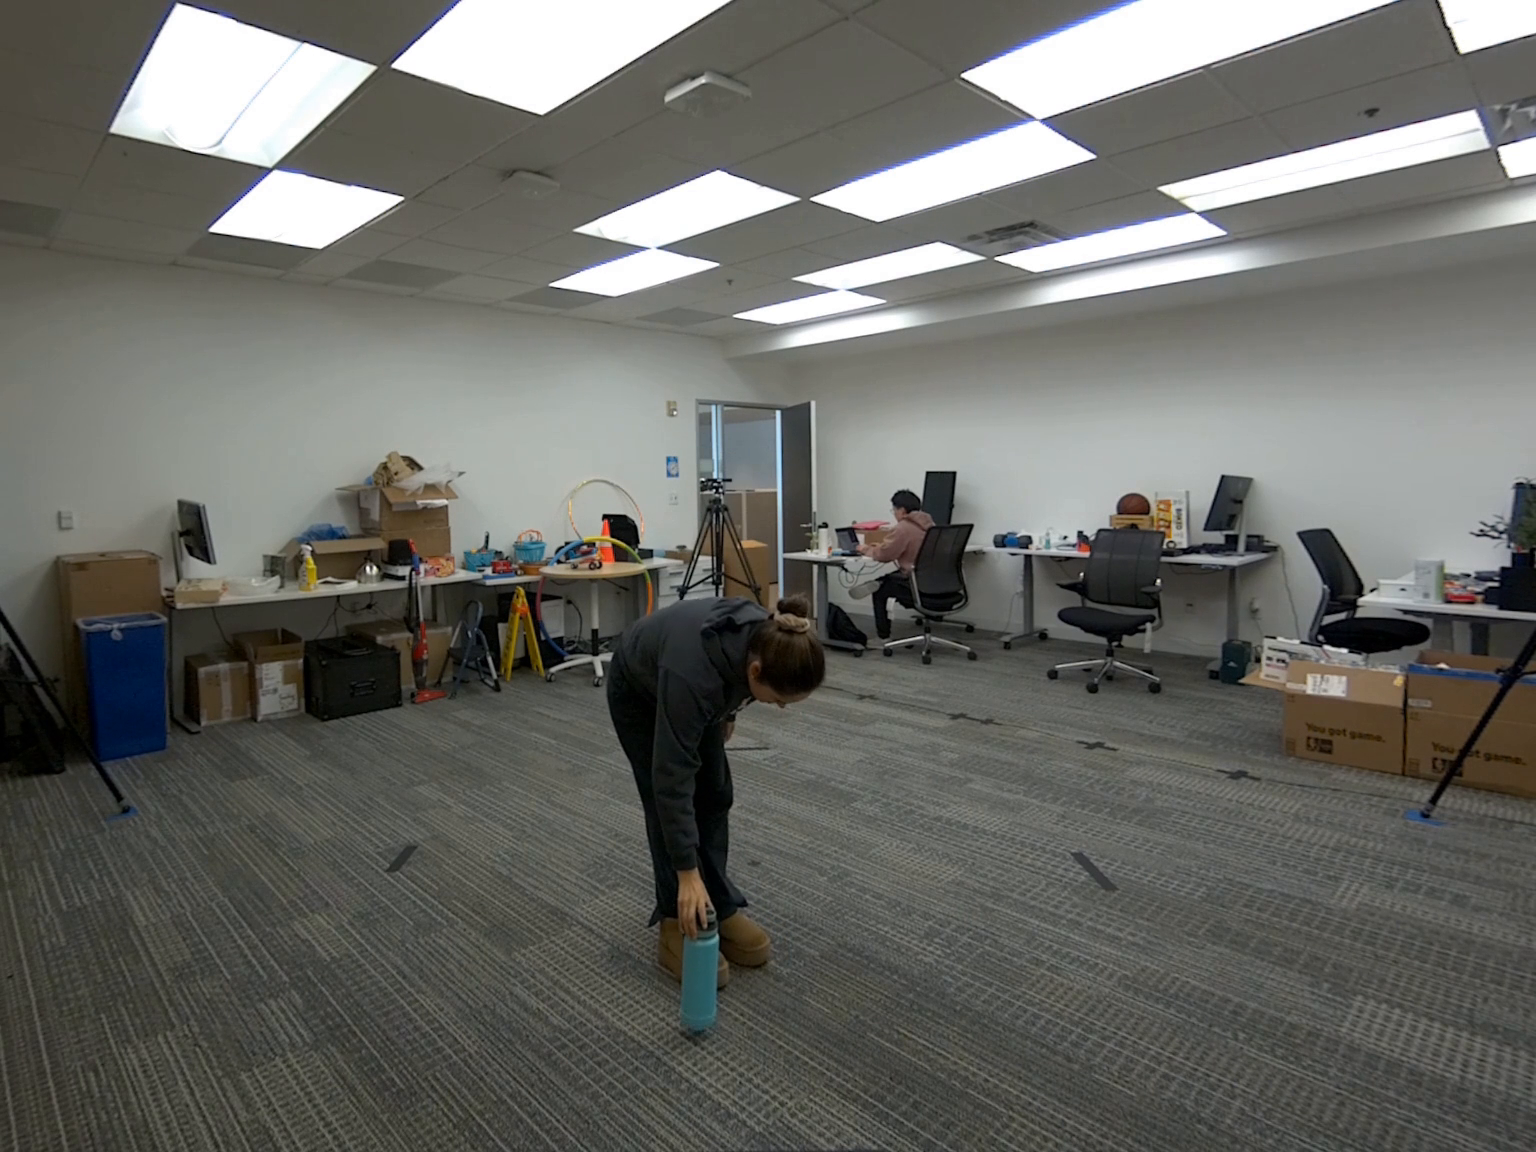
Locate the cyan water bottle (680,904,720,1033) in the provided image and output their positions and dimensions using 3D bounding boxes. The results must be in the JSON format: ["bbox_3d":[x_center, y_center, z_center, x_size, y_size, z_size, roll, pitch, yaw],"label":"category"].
[{"bbox_3d":[-0.171,0.982,2.139,0.092,0.283,0.092,1,2,-2],"label":"cyan water bottle"}]
